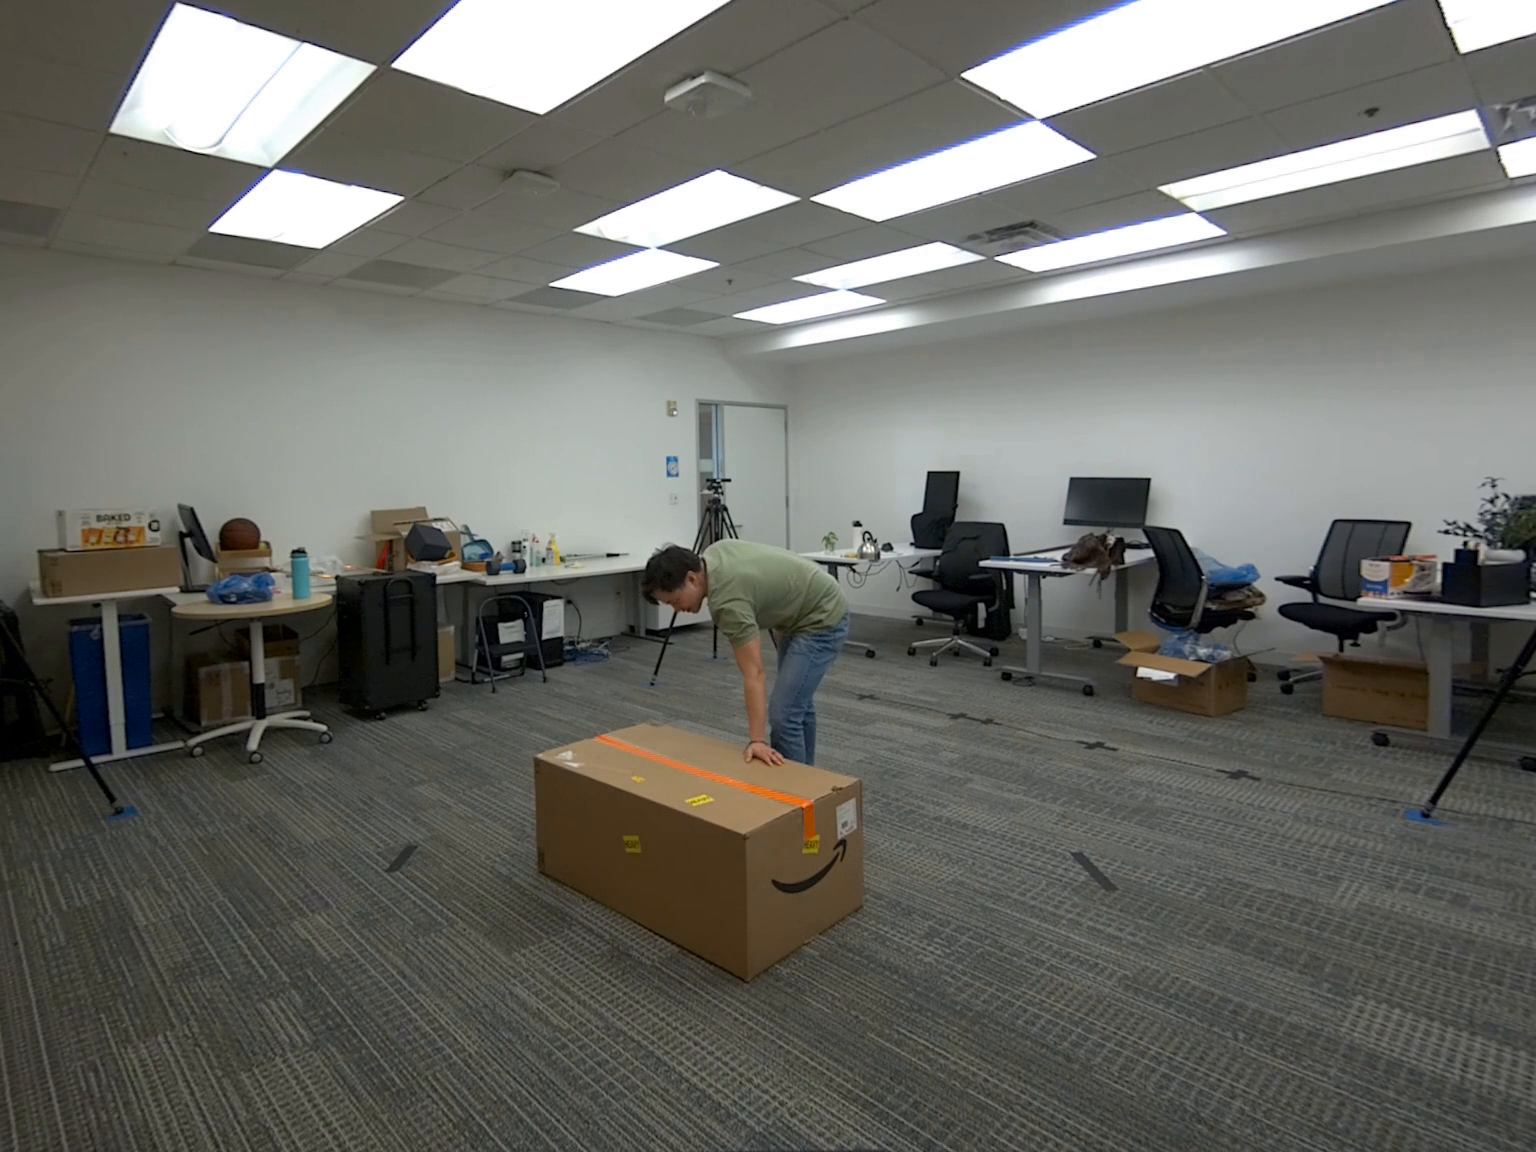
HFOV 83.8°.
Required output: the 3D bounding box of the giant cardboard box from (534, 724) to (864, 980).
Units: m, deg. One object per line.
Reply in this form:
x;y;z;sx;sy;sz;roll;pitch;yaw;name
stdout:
-0.261;0.857;2.917;1.057;0.424;0.563;5;8;42;giant cardboard box
